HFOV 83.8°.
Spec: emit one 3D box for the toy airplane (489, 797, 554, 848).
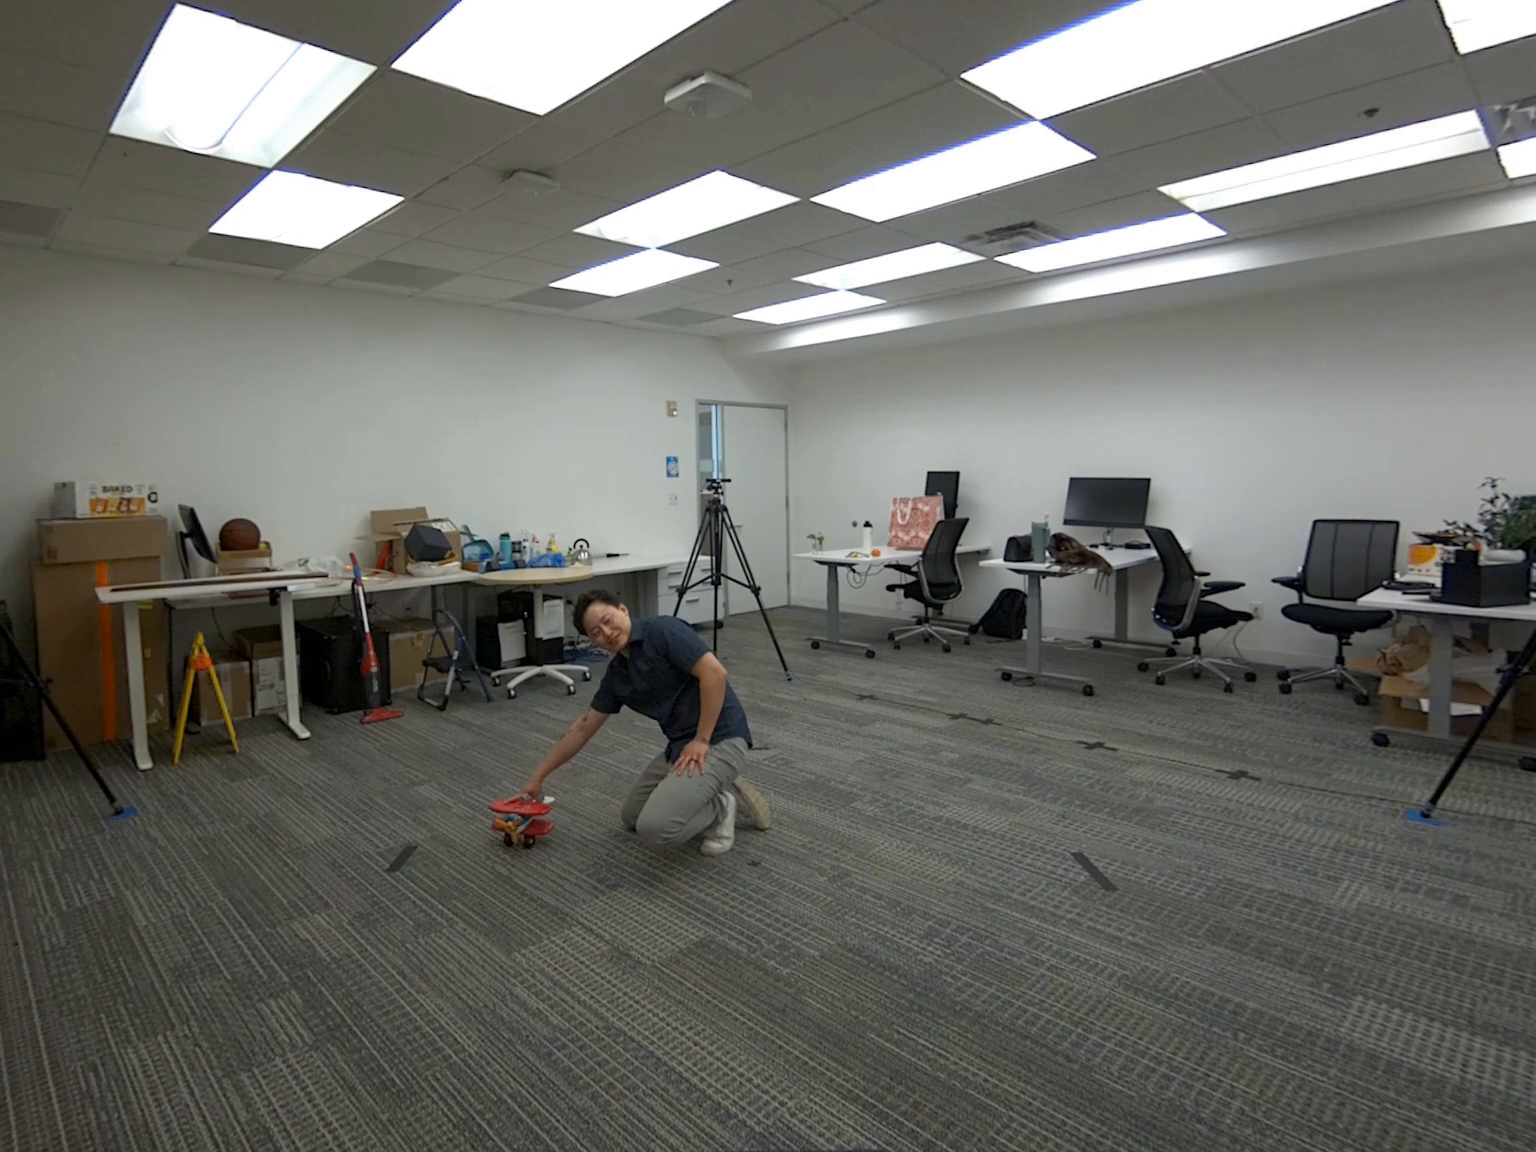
[{"bbox_3d":[-0.960,0.936,3.355,0.249,0.153,0.267,-13,26,-9],"label":"toy airplane"}]
